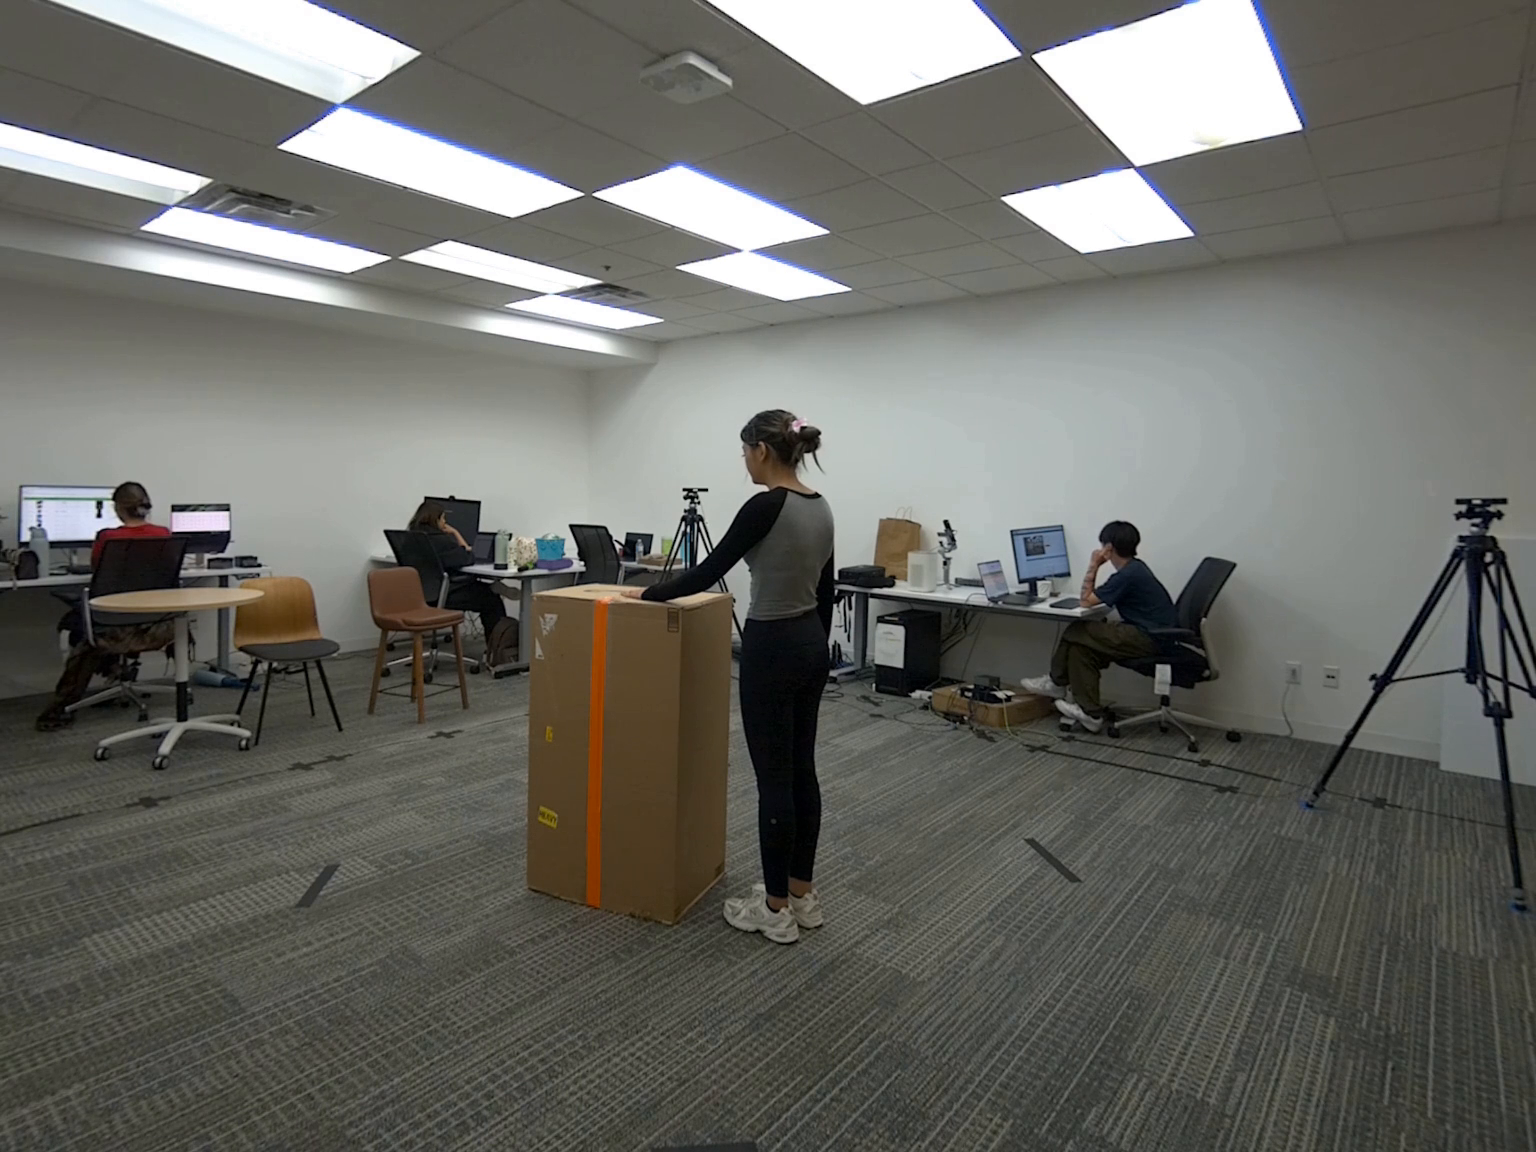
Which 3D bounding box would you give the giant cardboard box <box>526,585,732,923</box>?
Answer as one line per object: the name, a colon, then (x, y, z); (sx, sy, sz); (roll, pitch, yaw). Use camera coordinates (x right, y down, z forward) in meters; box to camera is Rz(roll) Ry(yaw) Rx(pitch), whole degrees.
giant cardboard box: (-0.494, 0.572, 2.979); (0.598, 1.025, 0.437); (3, 3, 22)
